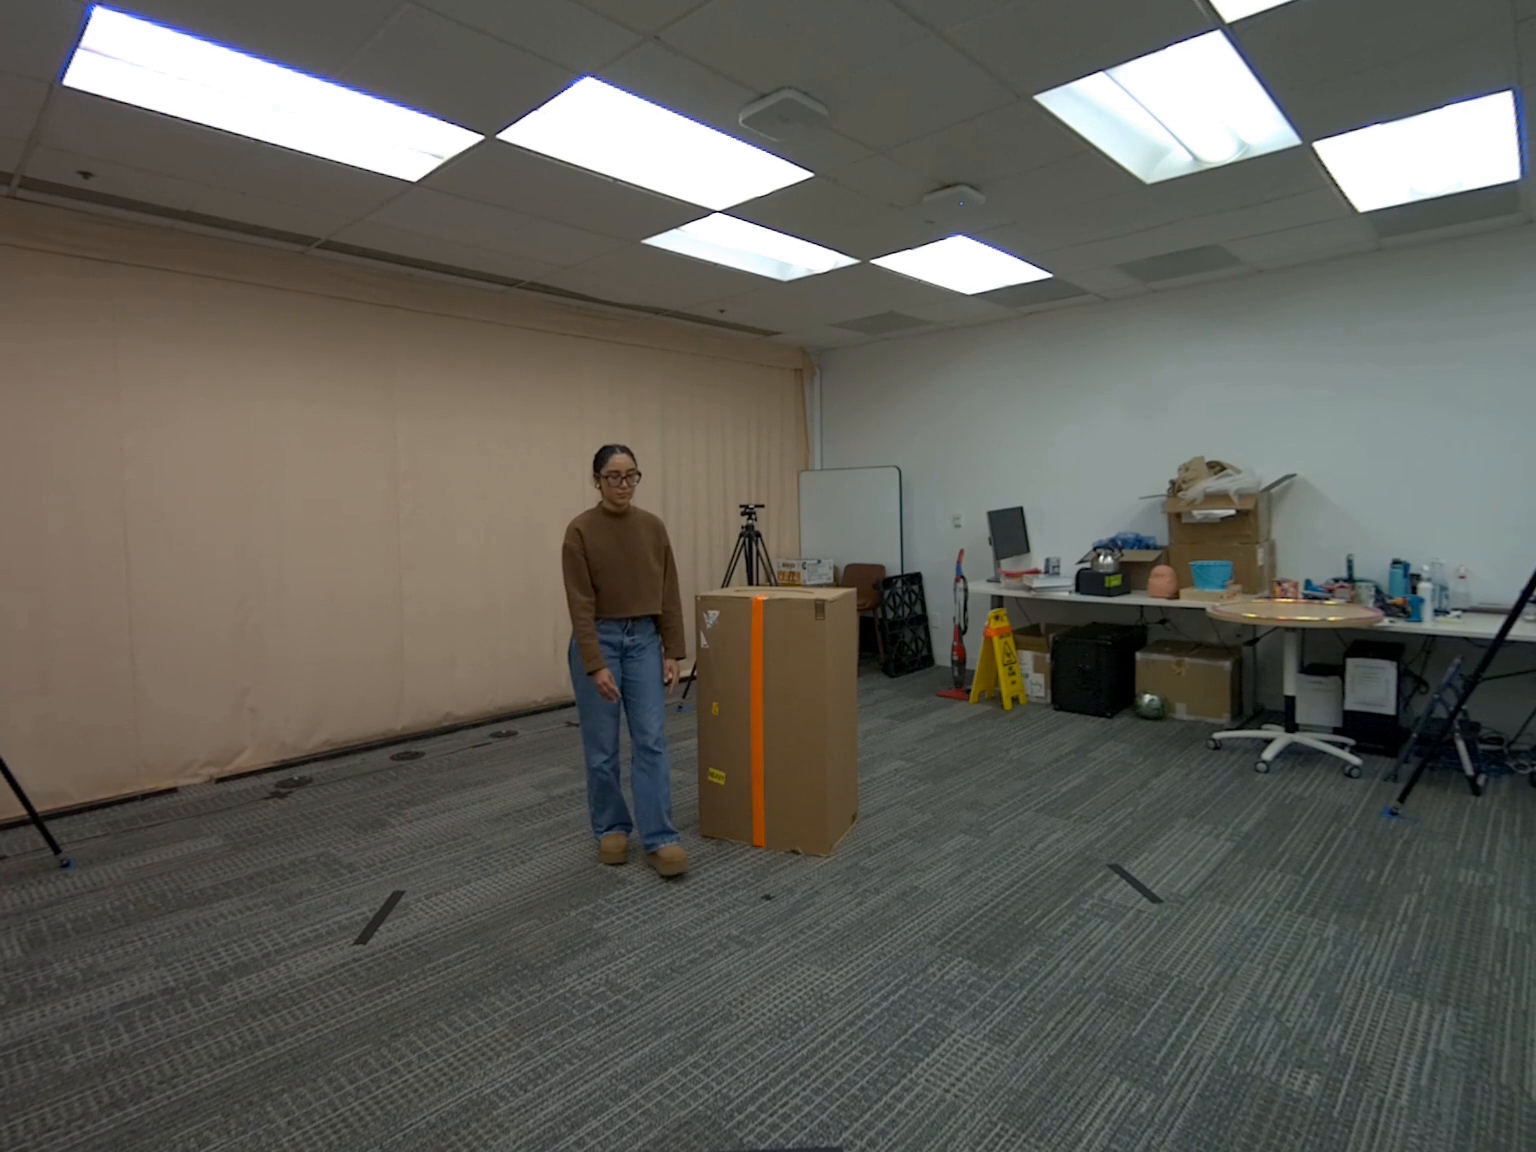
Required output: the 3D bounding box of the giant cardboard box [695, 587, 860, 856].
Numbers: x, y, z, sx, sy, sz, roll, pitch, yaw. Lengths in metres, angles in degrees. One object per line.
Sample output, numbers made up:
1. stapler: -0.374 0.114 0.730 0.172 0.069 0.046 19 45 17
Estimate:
1. giant cardboard box: 0.048 0.577 3.595 0.592 1.024 0.416 1 3 25
